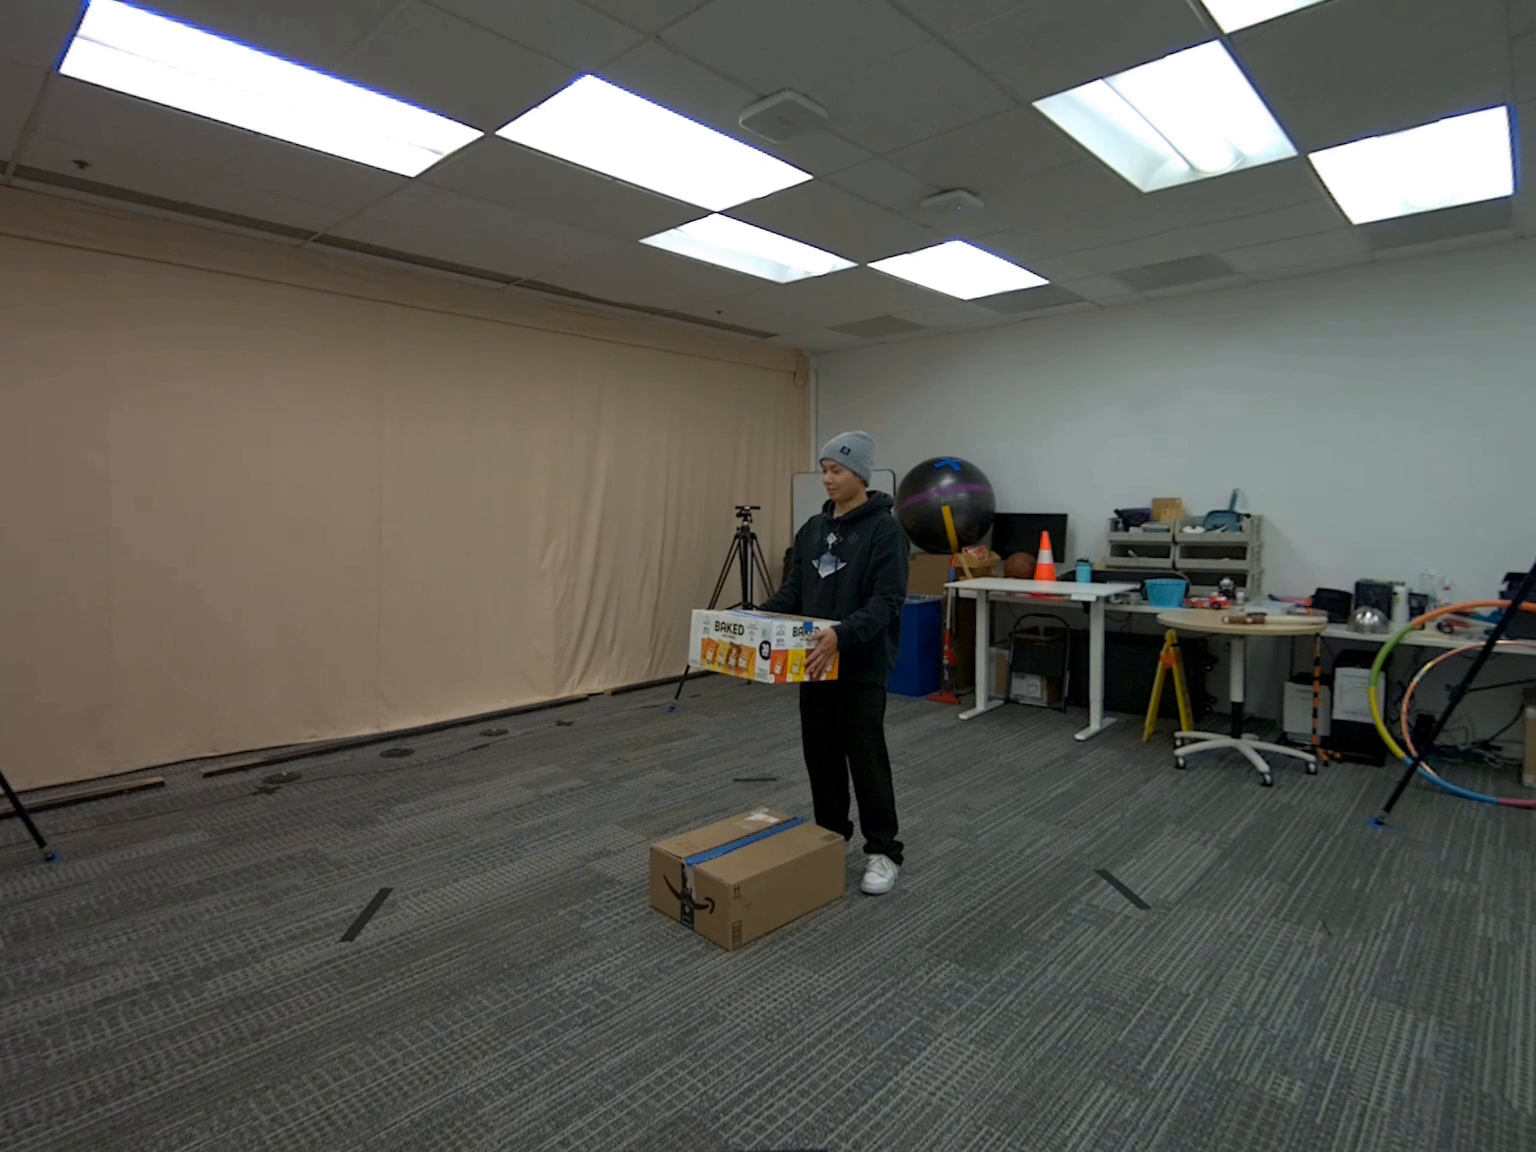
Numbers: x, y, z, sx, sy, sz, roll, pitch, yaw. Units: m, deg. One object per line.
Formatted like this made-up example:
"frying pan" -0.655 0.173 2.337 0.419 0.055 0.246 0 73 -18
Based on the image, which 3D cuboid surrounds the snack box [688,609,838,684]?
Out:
"snack box" -0.012 0.241 2.965 0.329 0.206 0.419 4 0 -43
